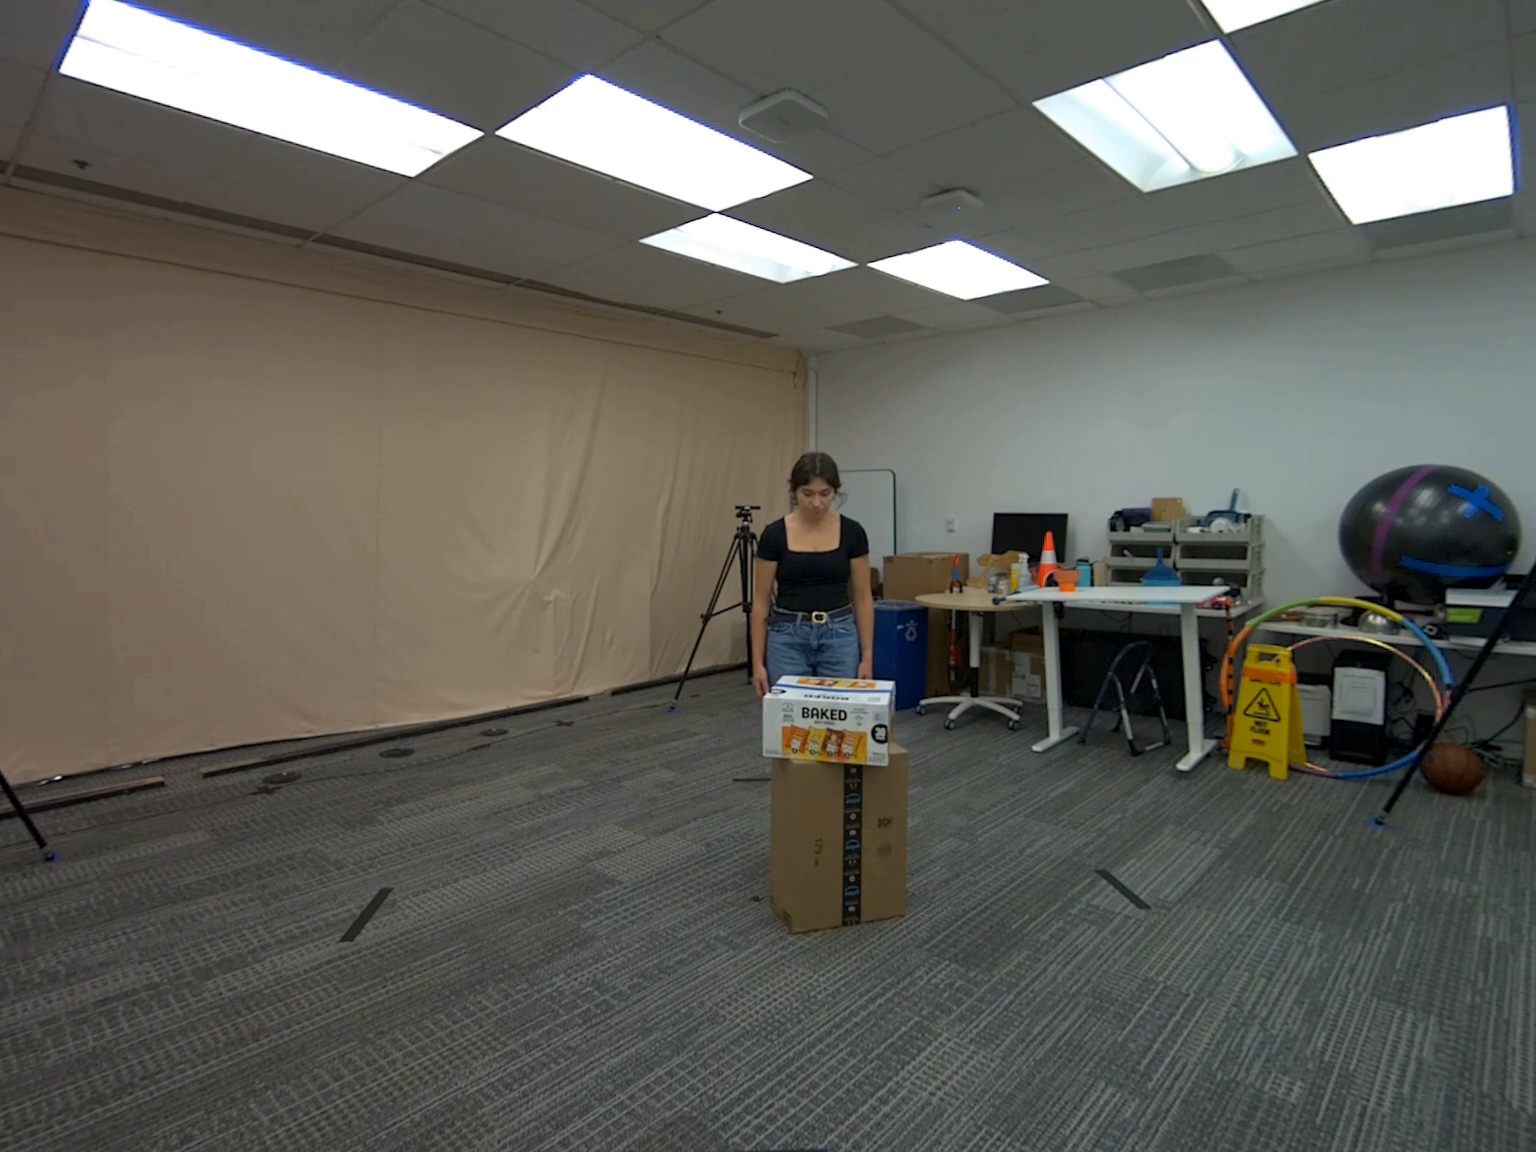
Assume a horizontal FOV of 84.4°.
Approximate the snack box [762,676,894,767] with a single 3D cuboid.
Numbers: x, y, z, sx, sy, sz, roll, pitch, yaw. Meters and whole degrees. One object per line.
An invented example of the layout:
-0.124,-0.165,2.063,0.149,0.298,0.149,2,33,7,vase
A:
0.216,0.482,2.876,0.412,0.205,0.336,1,5,14,snack box
